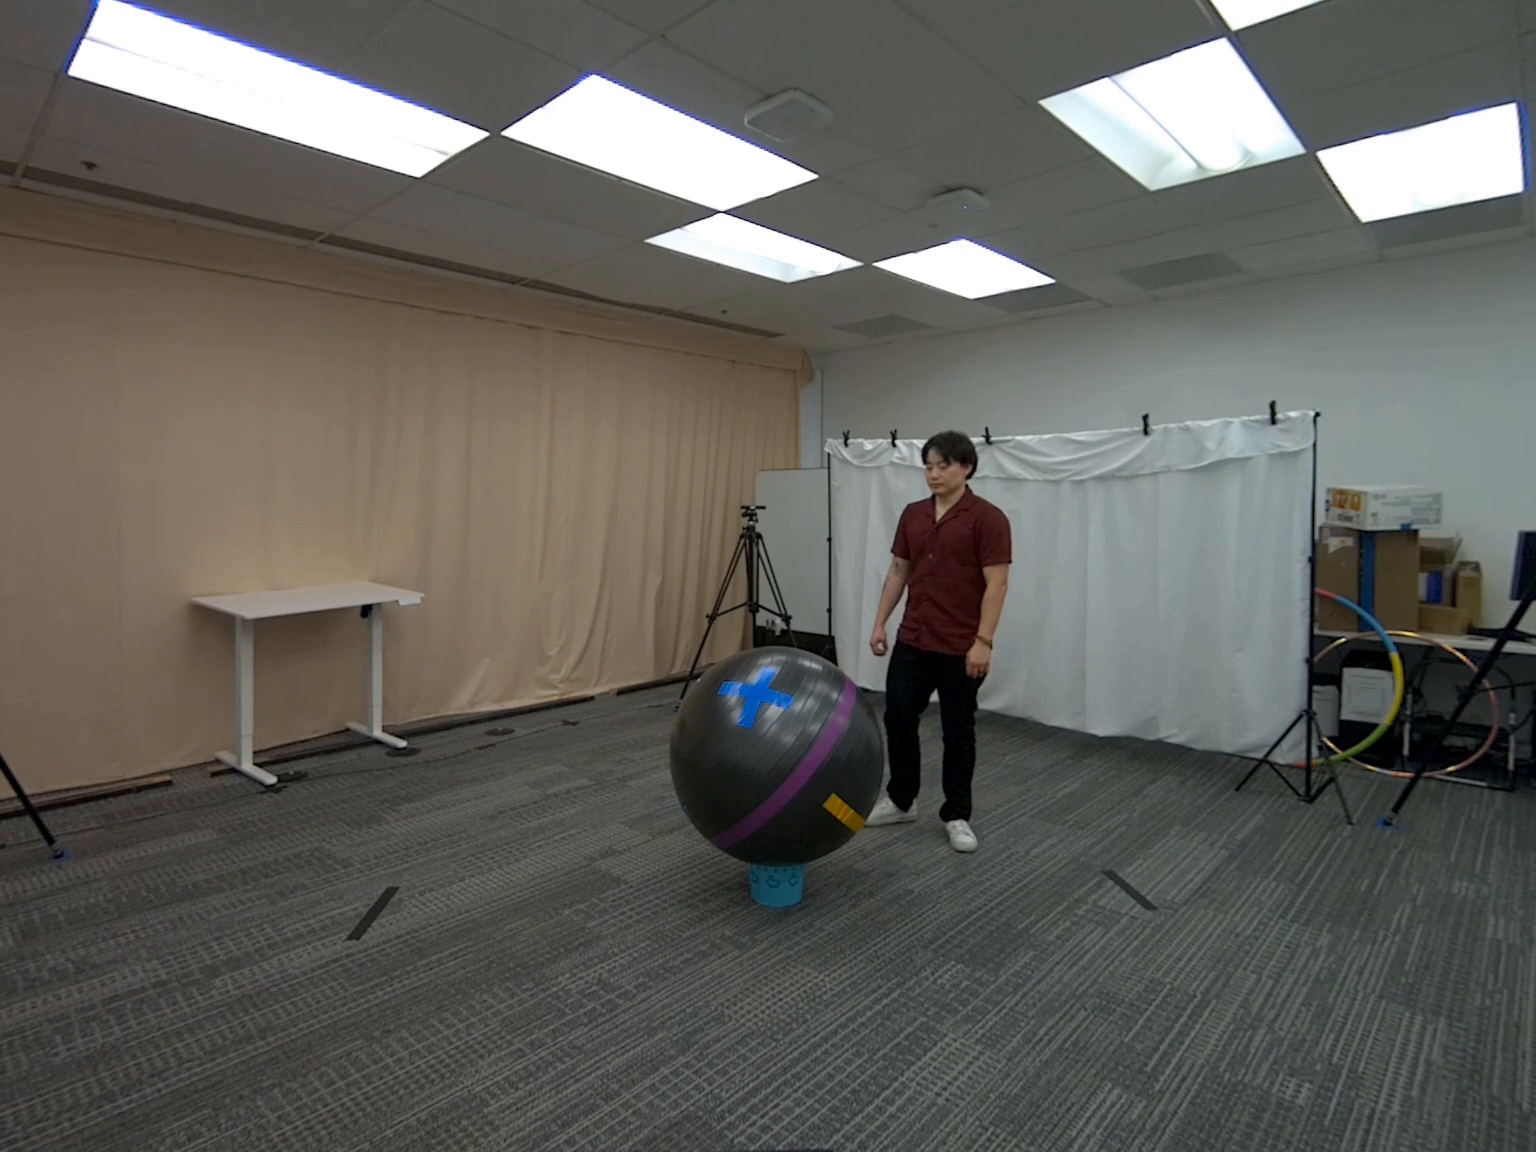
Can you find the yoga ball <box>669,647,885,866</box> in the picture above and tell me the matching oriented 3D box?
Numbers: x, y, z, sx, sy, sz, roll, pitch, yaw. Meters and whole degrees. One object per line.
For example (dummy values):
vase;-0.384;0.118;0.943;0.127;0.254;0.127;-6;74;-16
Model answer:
yoga ball;0.027;0.626;2.999;0.757;0.756;0.761;0;4;-2
